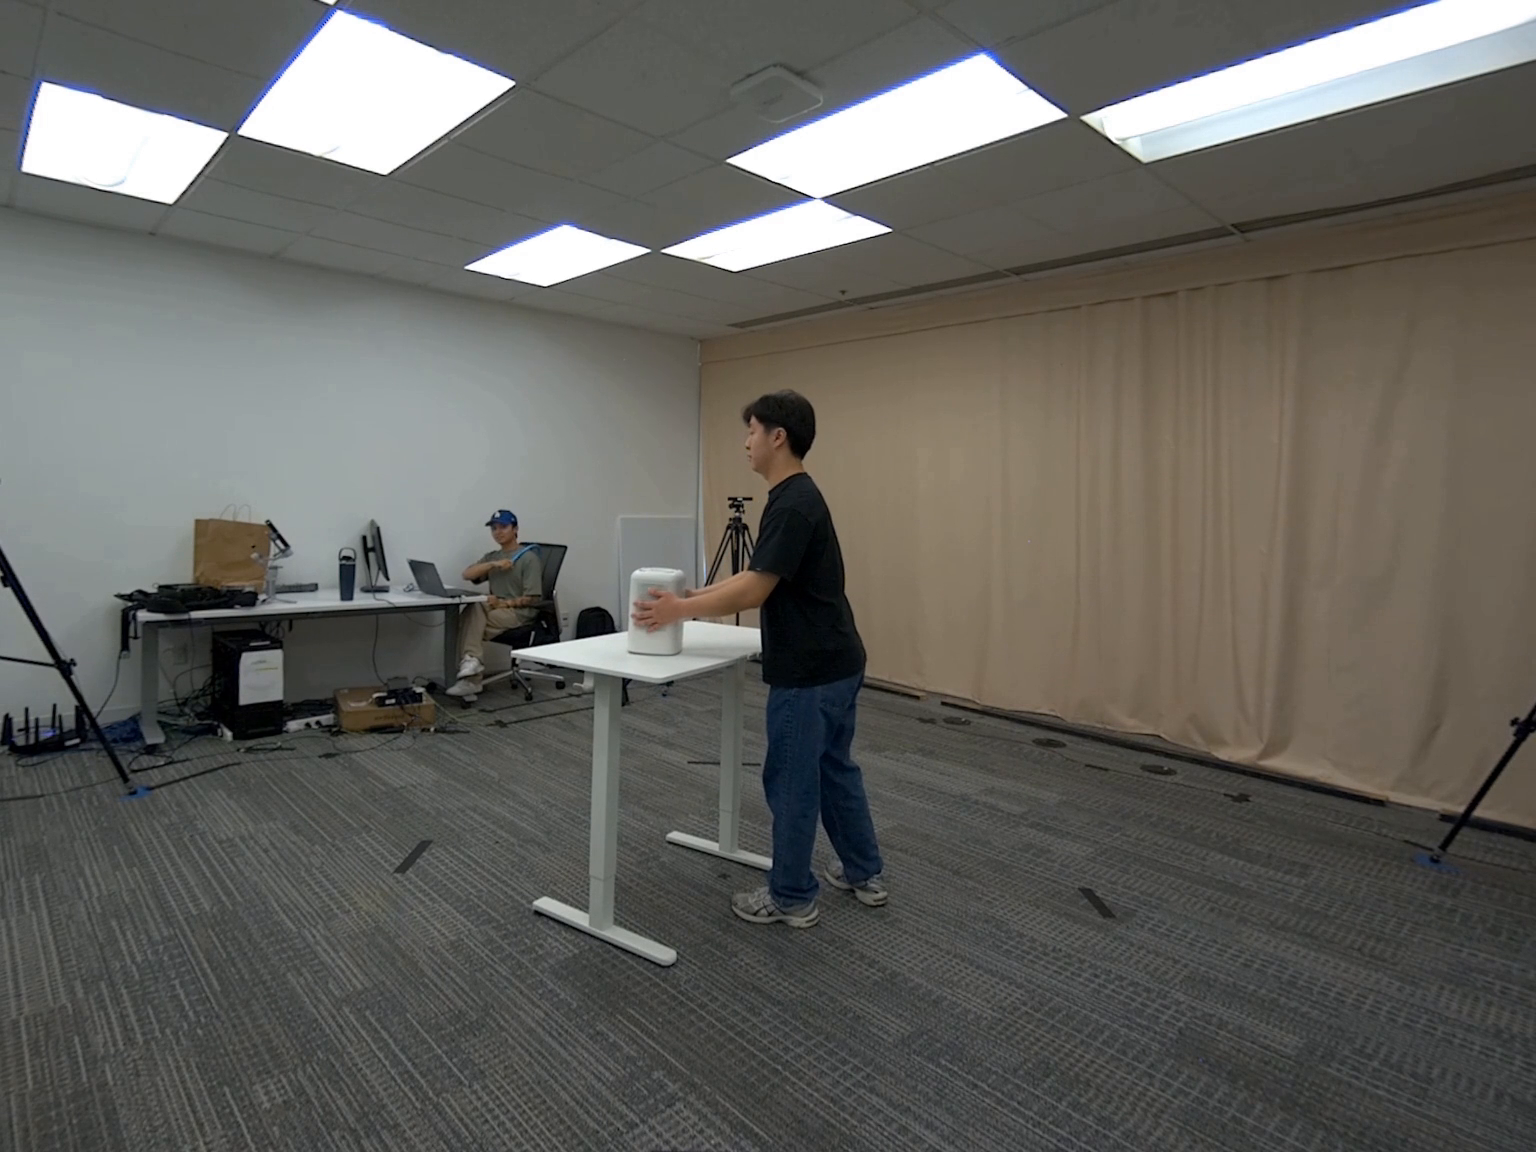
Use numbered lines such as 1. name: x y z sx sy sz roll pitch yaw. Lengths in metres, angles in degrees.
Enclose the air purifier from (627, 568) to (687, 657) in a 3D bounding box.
1. air purifier: -0.362 0.115 2.756 0.172 0.264 0.171 5 5 5
